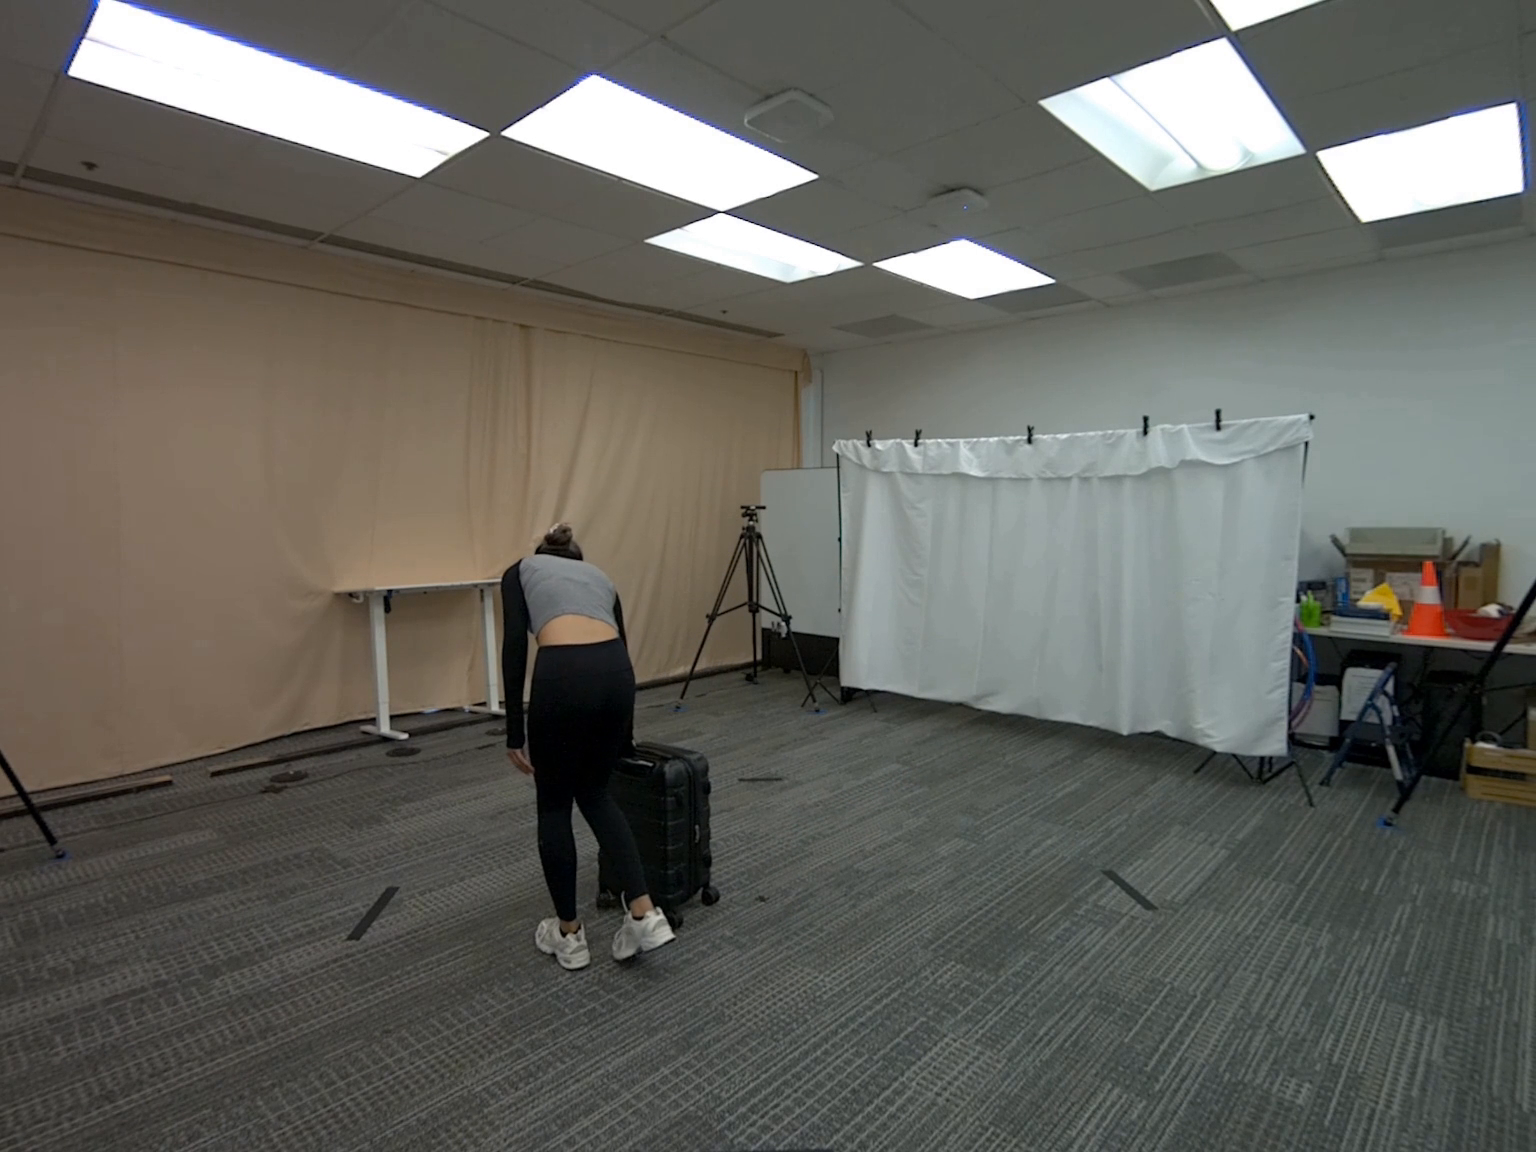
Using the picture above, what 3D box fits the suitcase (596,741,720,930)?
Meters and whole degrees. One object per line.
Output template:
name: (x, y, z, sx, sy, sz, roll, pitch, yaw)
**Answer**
suitcase: (-0.398, 0.873, 2.950, 0.387, 0.549, 0.241, 0, 2, 34)
